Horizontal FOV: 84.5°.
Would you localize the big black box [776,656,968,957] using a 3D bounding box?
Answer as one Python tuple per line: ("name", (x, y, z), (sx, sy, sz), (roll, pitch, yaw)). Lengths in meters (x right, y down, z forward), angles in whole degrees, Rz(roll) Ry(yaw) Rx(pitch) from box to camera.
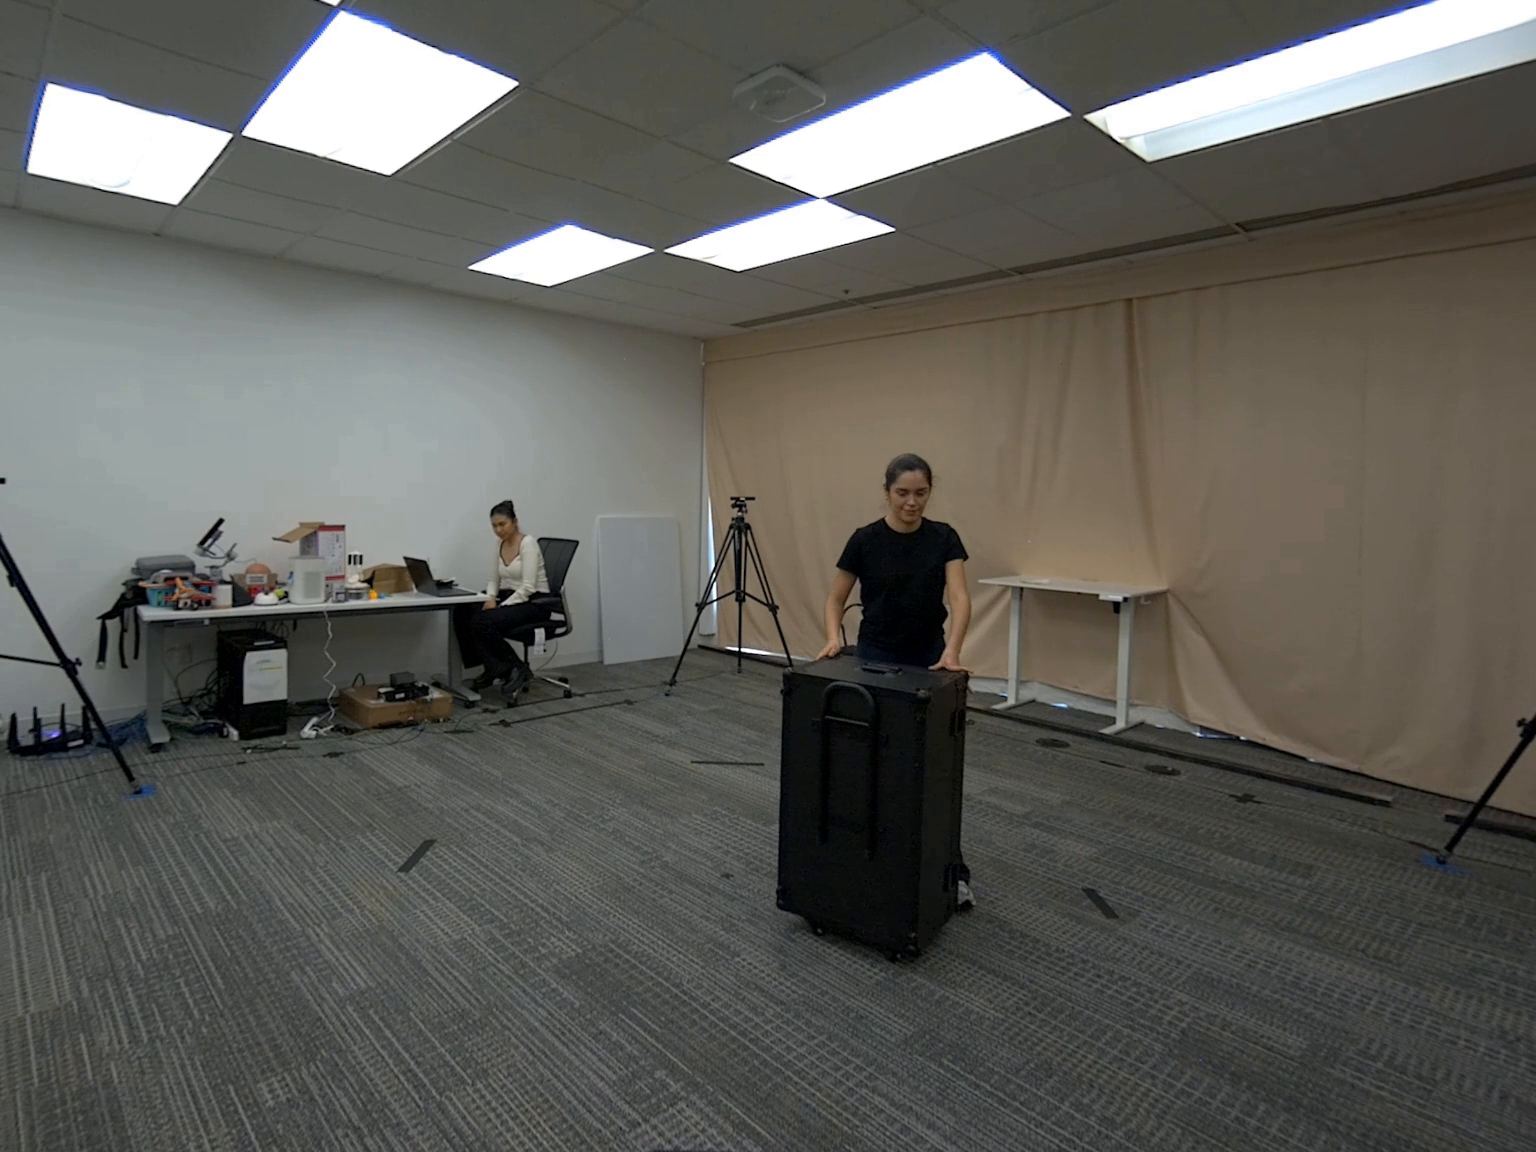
("big black box", (0.328, 0.732, 2.682), (0.533, 0.858, 0.388), (4, 6, 33))
